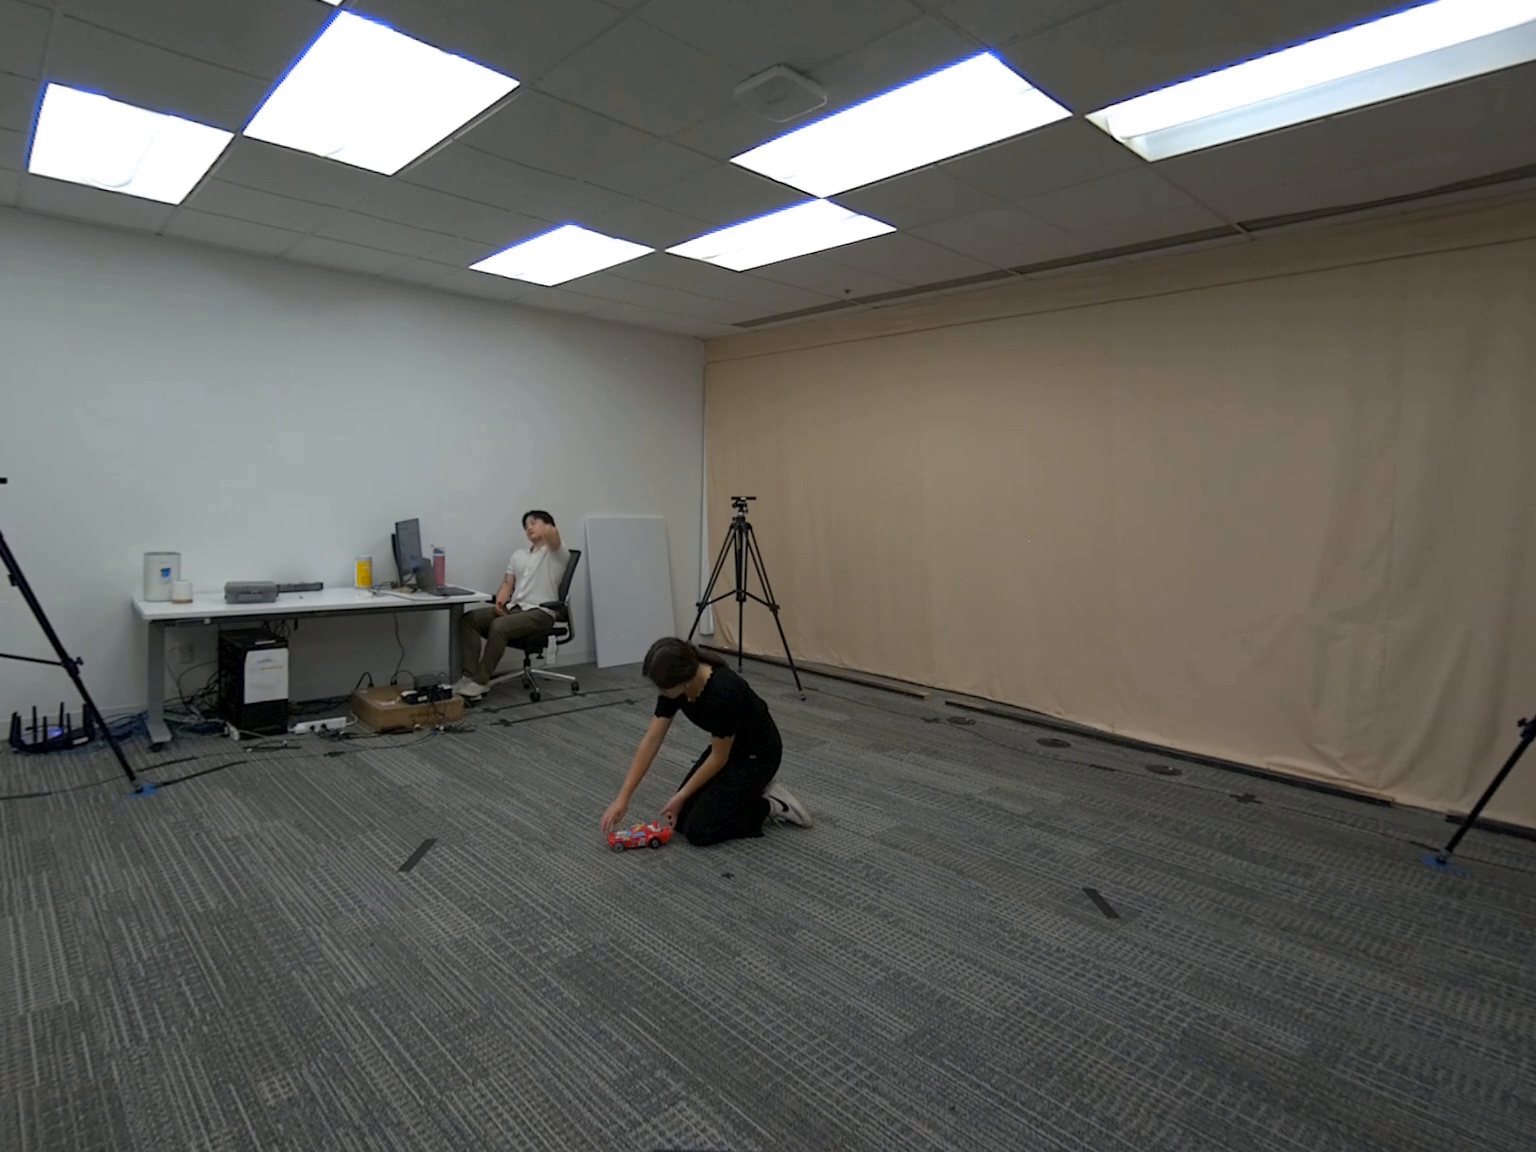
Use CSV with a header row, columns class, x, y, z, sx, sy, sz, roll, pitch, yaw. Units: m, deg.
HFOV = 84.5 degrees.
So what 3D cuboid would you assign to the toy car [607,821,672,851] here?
class,x,y,z,sx,sy,sz,roll,pitch,yaw
toy car,-0.520,1.043,3.358,0.252,0.083,0.132,-11,8,-17
